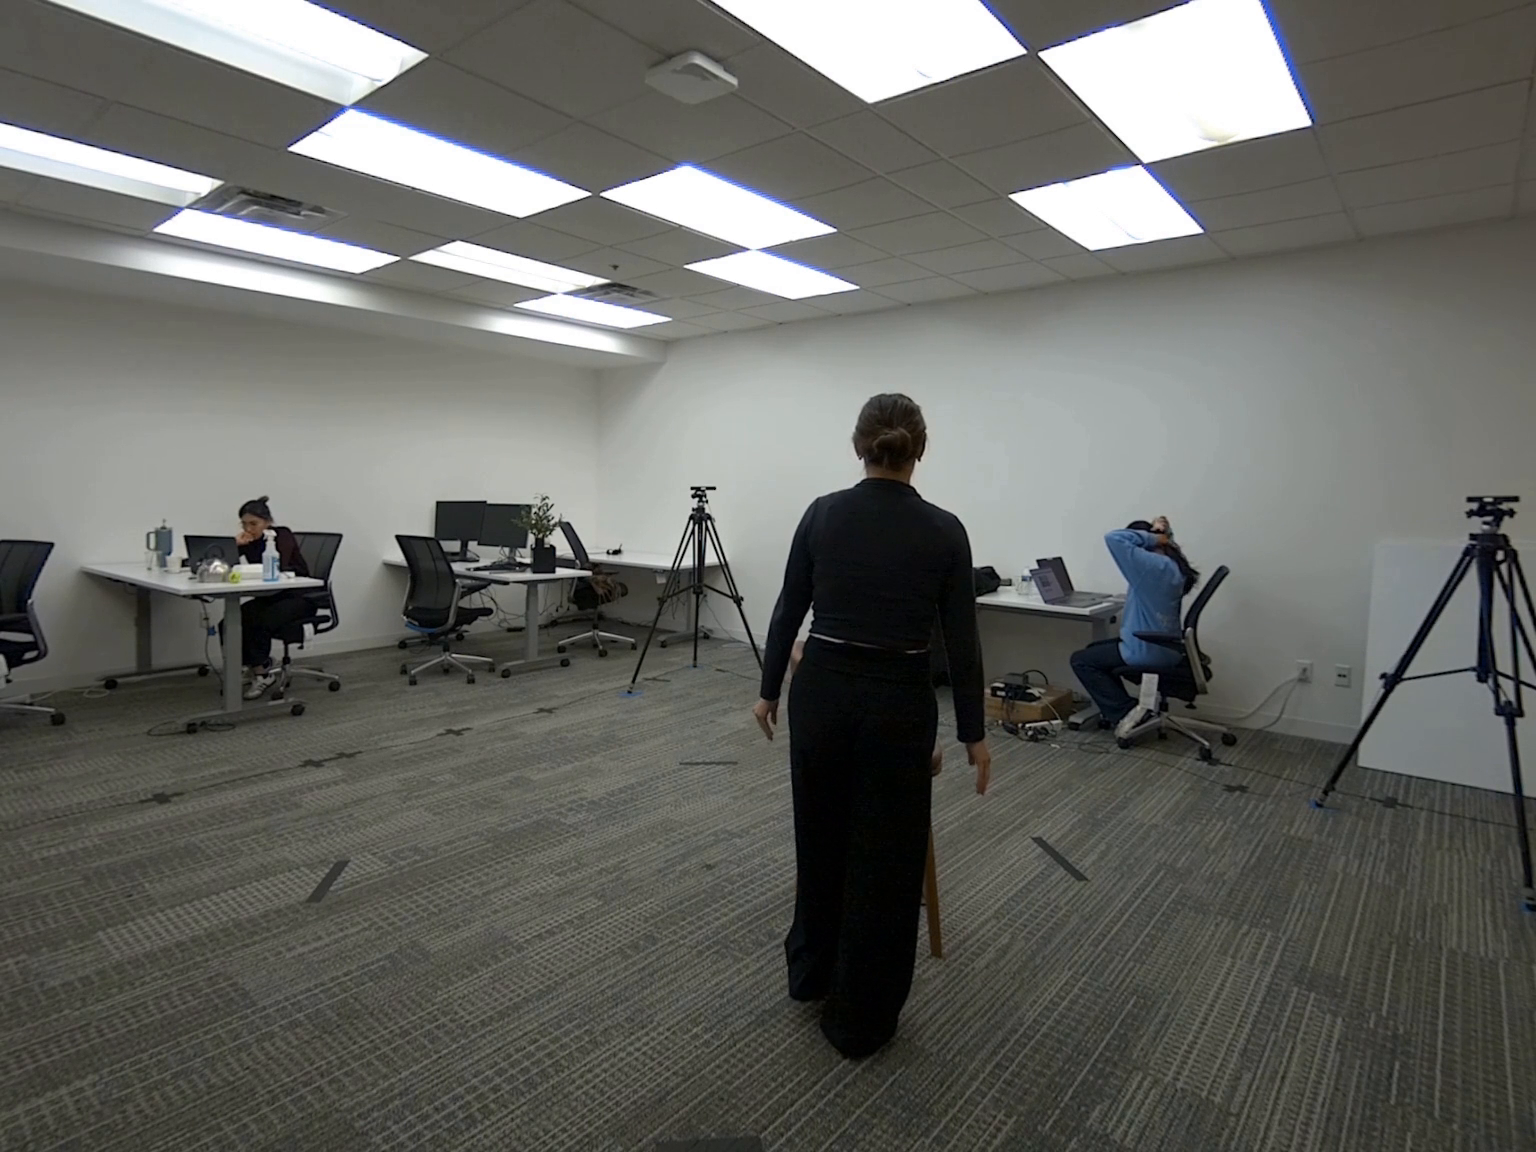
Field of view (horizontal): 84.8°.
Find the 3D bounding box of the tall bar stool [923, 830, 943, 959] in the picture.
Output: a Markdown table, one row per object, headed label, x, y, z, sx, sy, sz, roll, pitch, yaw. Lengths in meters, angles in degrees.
| label | x | y | z | sx | sy | sz | roll | pitch | yaw |
| --- | --- | --- | --- | --- | --- | --- | --- | --- | --- |
| tall bar stool | 0.311 | 0.677 | 2.745 | 0.471 | 0.887 | 0.454 | 1 | 3 | 6 |
